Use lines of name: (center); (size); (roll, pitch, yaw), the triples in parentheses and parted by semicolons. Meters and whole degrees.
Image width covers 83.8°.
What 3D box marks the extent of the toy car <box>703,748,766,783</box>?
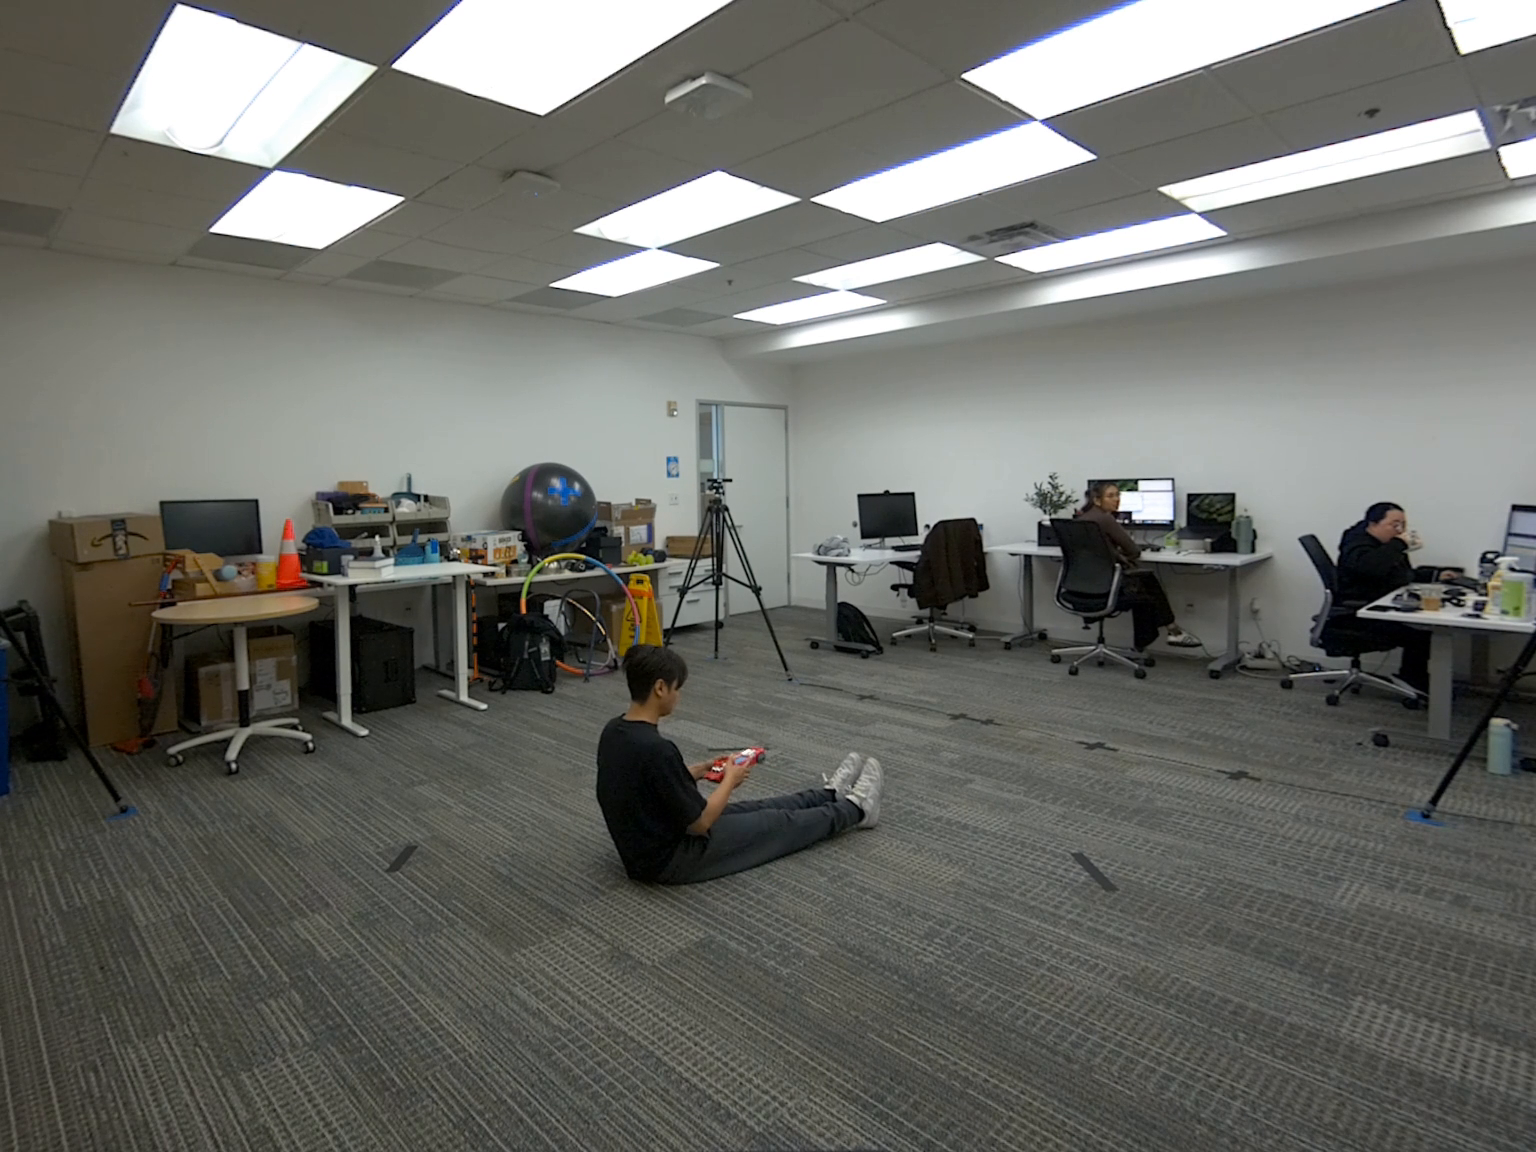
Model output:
toy car: (-0.136, 0.730, 3.241); (0.249, 0.083, 0.133); (-16, 5, -35)
